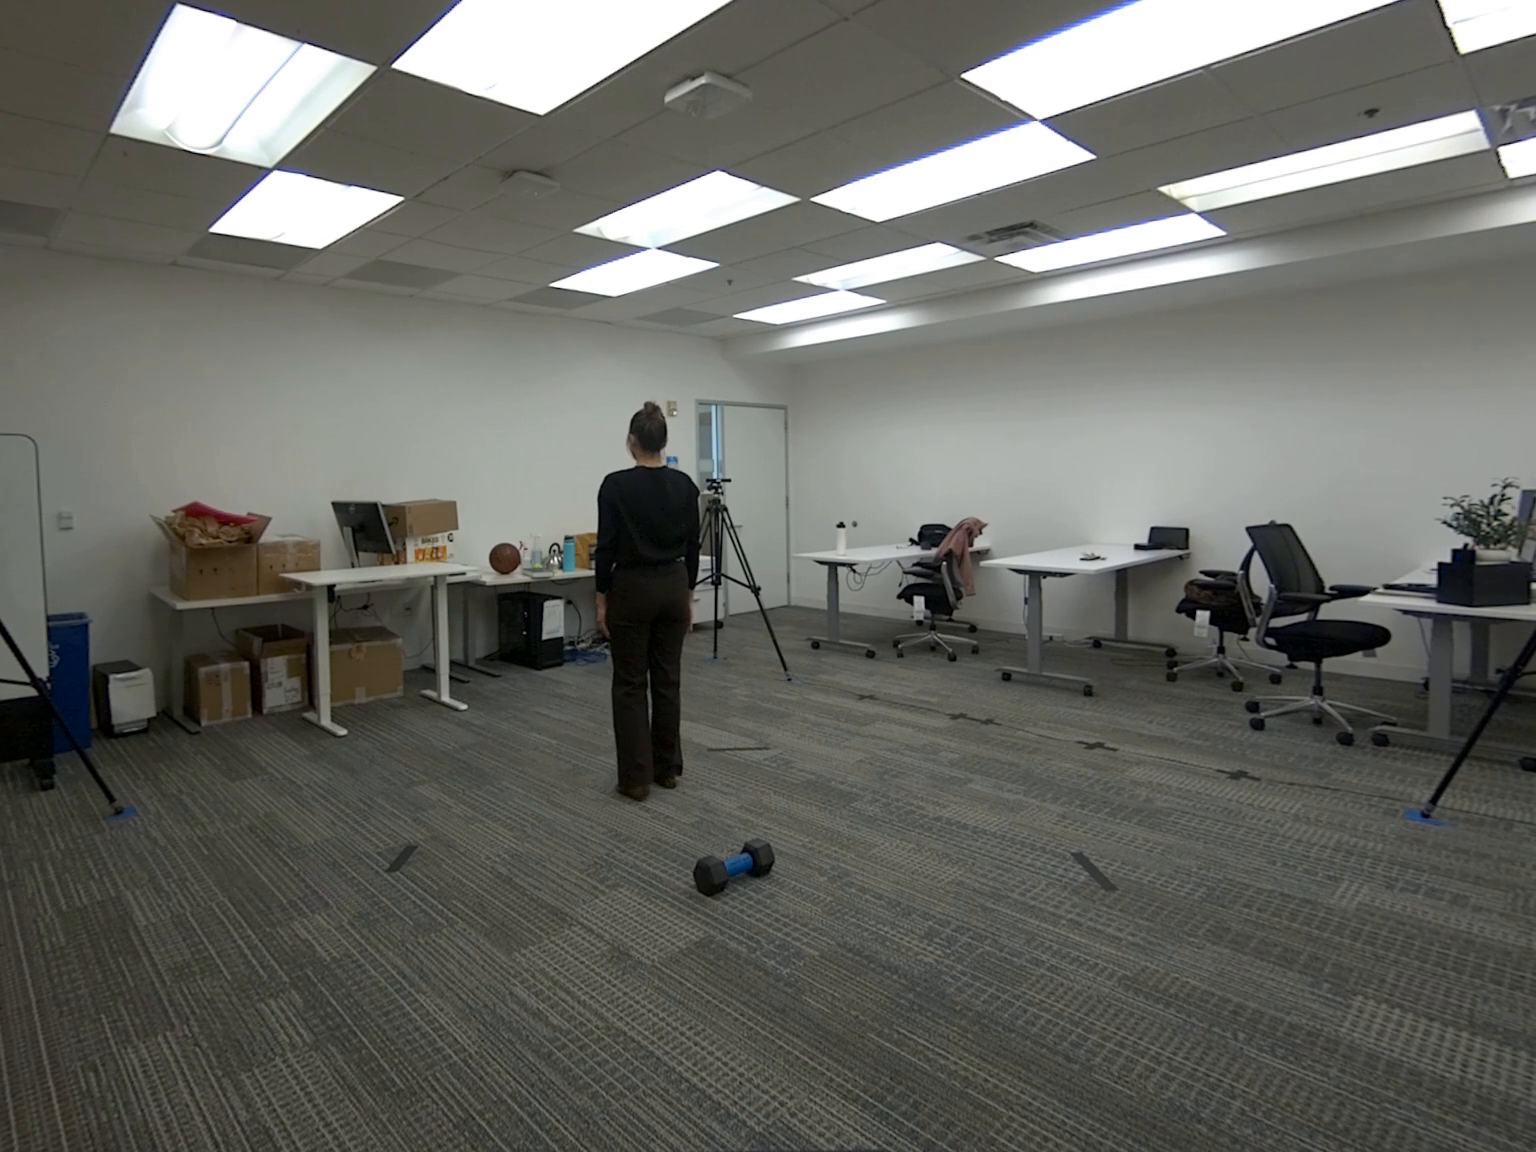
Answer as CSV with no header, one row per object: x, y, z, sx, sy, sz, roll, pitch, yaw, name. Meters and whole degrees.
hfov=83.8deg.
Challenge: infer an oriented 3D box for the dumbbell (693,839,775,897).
-0.114,1.007,2.966,0.286,0.108,0.127,-6,7,-41,dumbbell
